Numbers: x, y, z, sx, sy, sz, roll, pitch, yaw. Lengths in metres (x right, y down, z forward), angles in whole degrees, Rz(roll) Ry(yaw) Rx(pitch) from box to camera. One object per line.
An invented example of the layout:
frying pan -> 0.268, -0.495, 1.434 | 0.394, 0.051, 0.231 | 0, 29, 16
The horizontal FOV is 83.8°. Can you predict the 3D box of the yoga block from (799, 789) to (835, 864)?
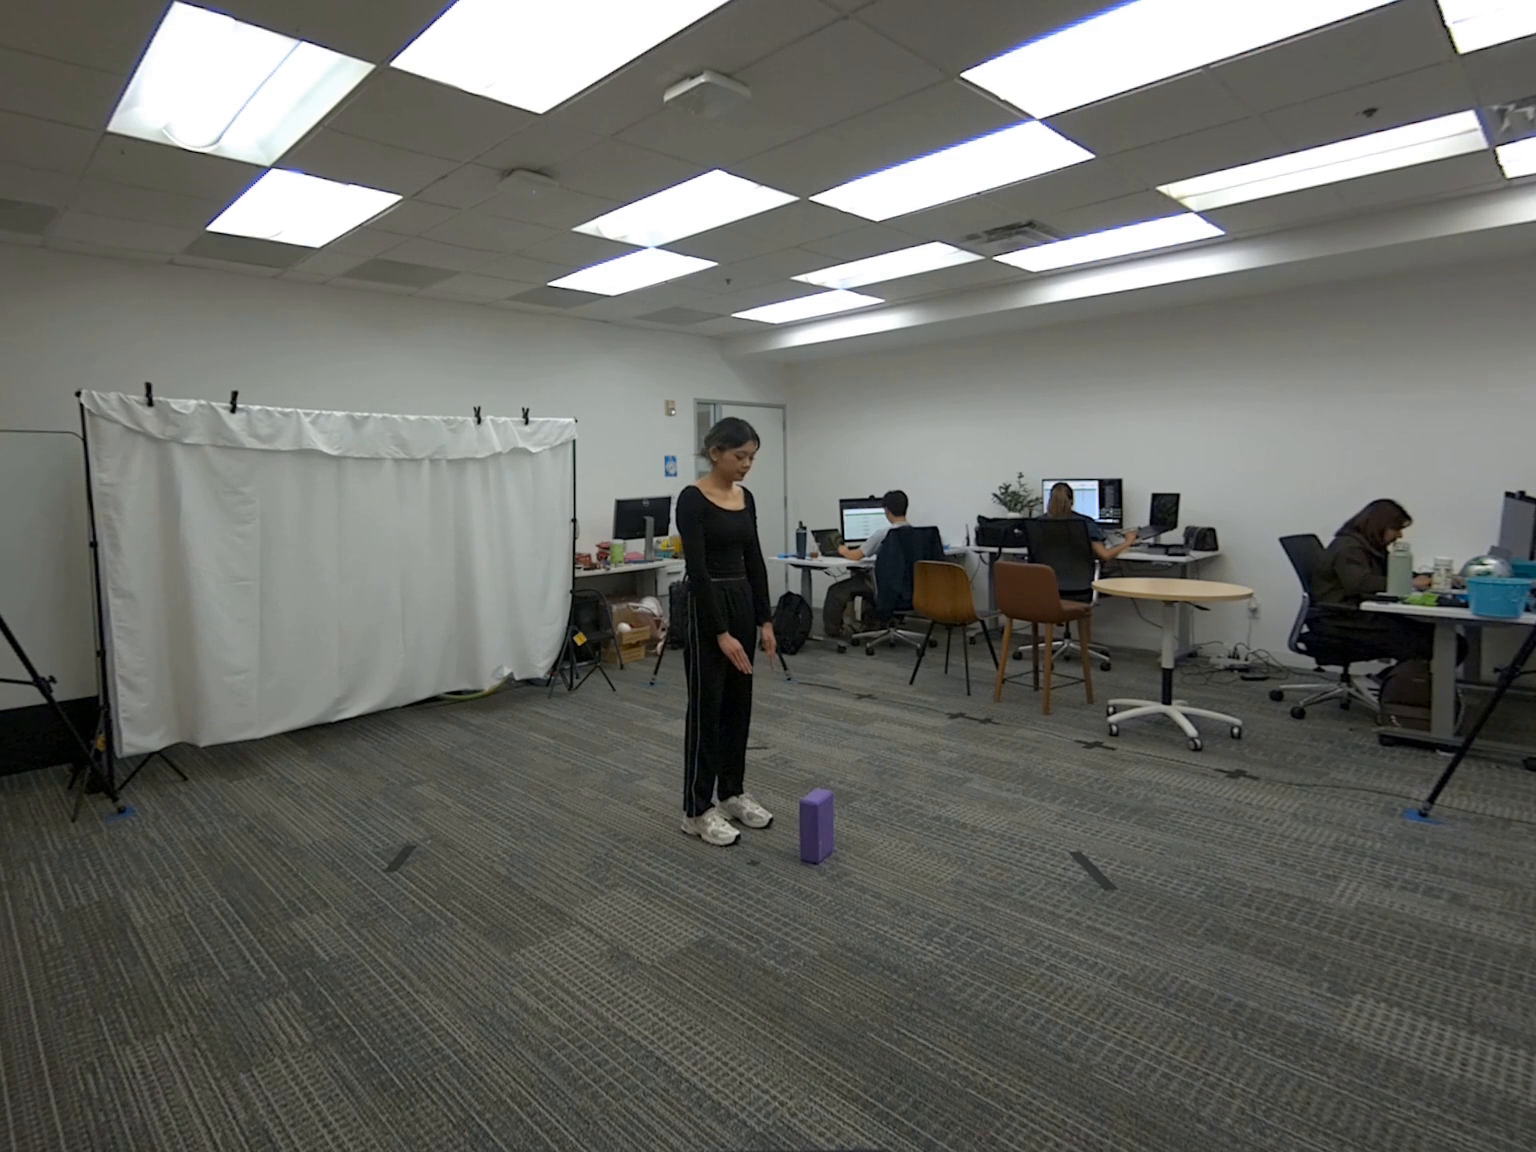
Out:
yoga block -> 0.184, 0.920, 3.148 | 0.078, 0.229, 0.146 | 2, 4, 29
